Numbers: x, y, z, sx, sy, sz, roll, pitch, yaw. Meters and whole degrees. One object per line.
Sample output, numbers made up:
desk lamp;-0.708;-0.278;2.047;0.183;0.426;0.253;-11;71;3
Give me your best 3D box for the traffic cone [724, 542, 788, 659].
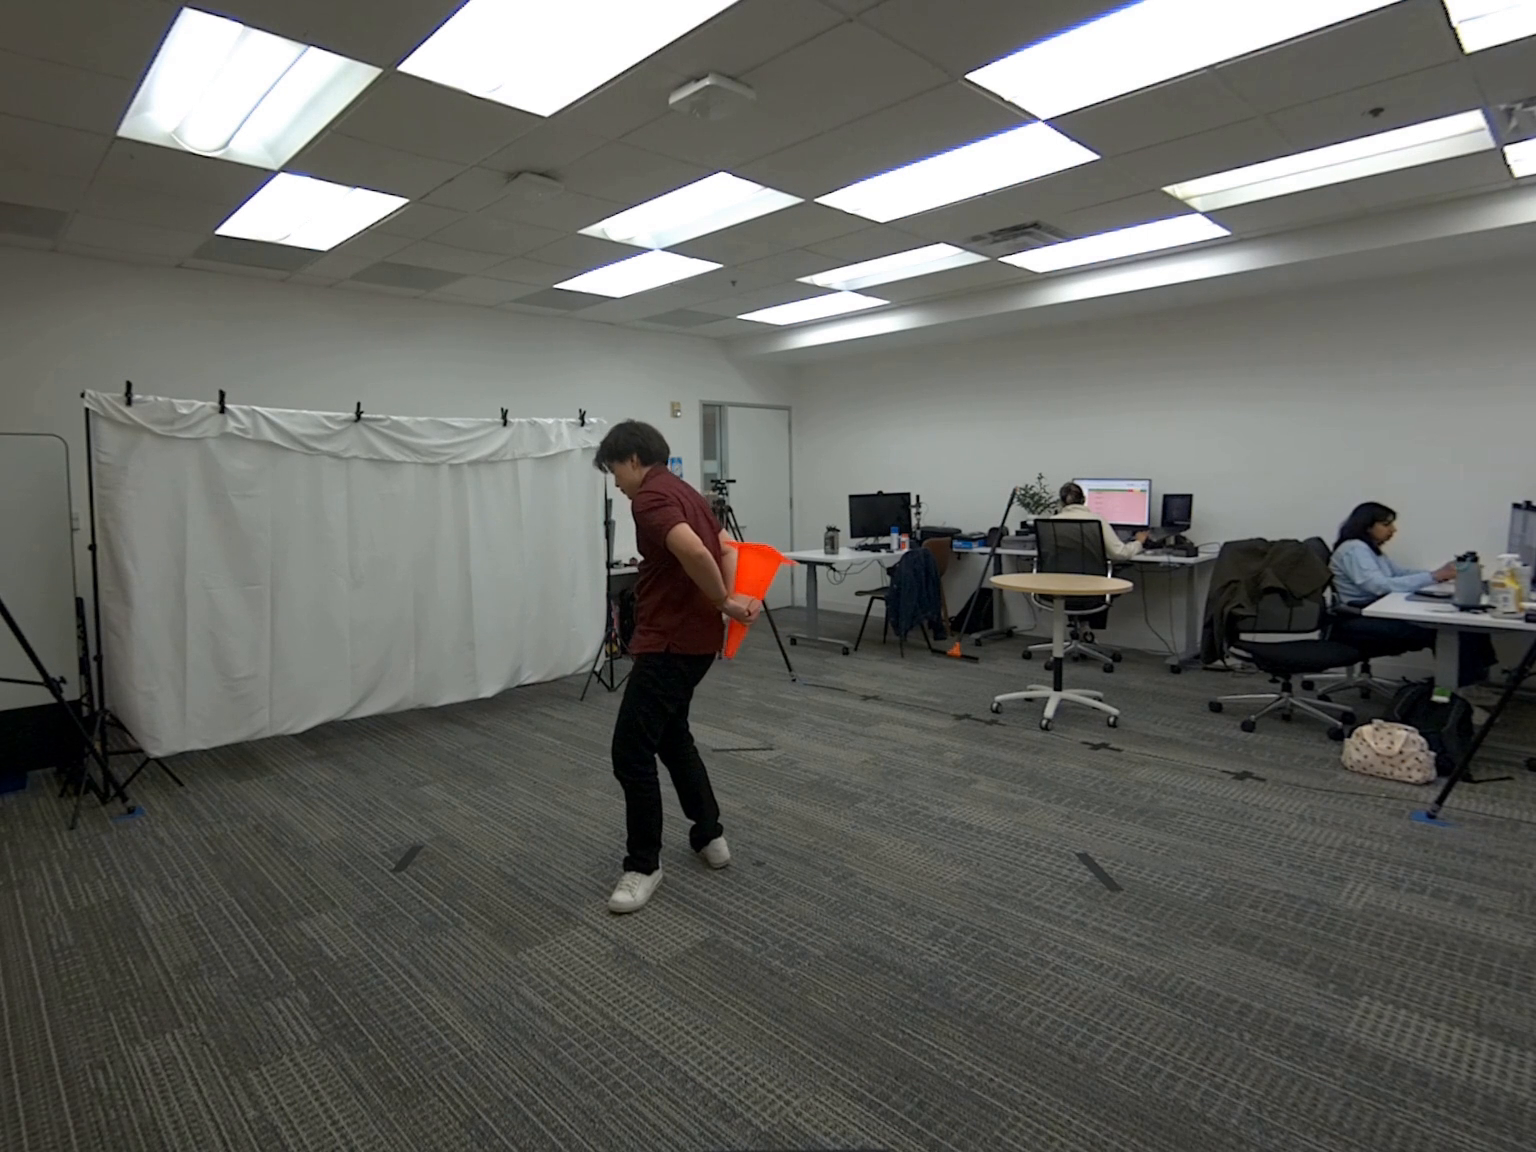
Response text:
traffic cone;-0.070;0.103;2.931;0.211;0.387;0.195;5;-16;36
